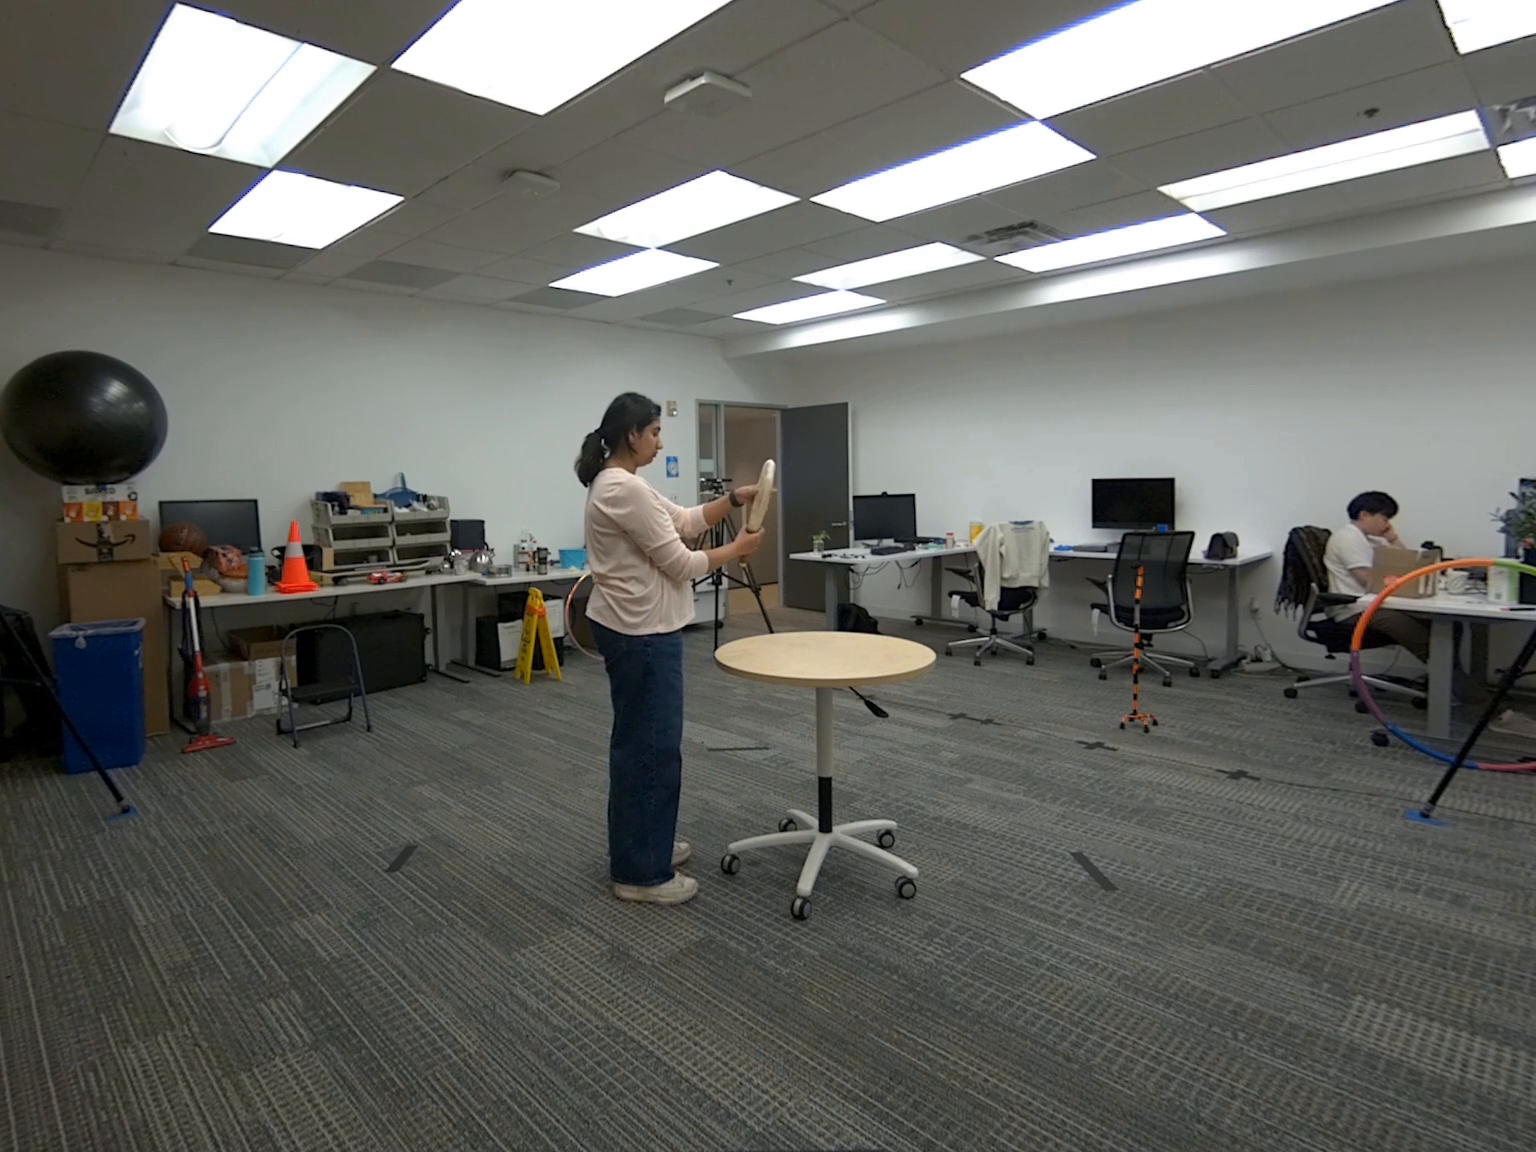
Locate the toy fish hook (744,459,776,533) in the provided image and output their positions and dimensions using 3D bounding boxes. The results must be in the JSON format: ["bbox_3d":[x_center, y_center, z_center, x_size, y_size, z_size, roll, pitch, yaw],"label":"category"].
[{"bbox_3d":[-0.059,-0.177,2.989,0.048,0.498,0.229,16,40,-3],"label":"toy fish hook"}]
